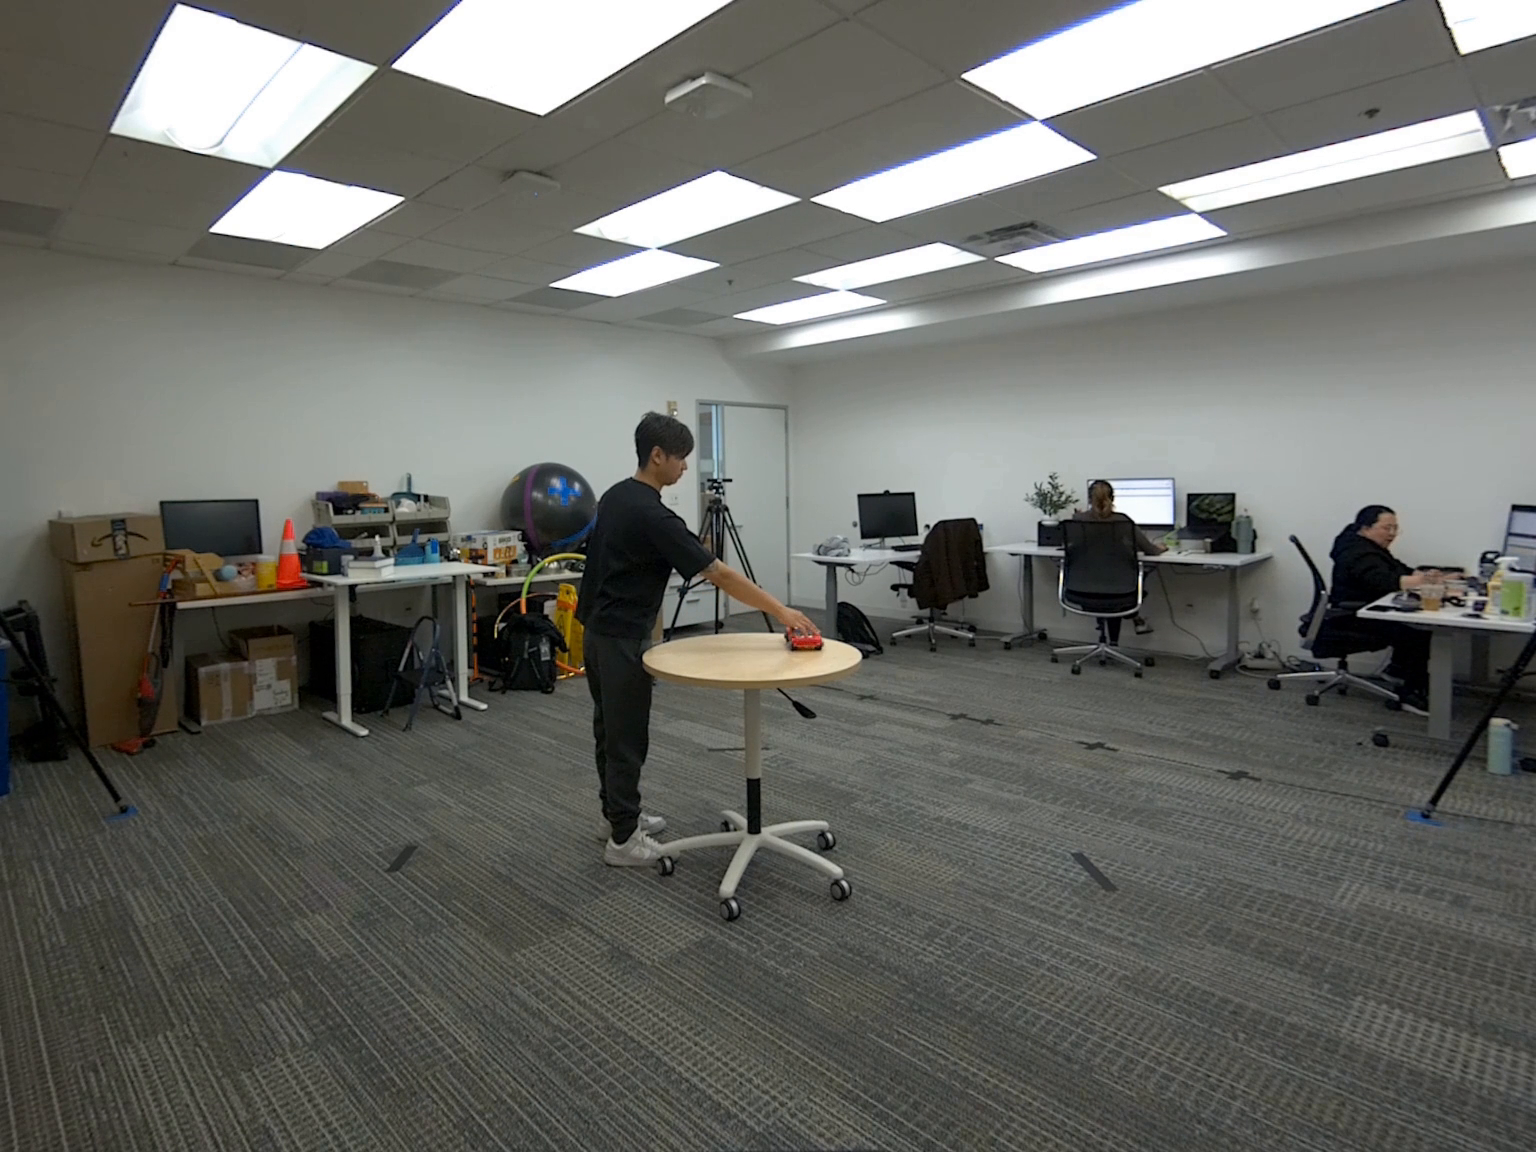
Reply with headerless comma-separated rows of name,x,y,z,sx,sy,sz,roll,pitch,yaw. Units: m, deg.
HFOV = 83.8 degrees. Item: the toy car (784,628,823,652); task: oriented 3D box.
toy car,0.125,0.220,3.140,0.130,0.082,0.259,-1,18,-3
